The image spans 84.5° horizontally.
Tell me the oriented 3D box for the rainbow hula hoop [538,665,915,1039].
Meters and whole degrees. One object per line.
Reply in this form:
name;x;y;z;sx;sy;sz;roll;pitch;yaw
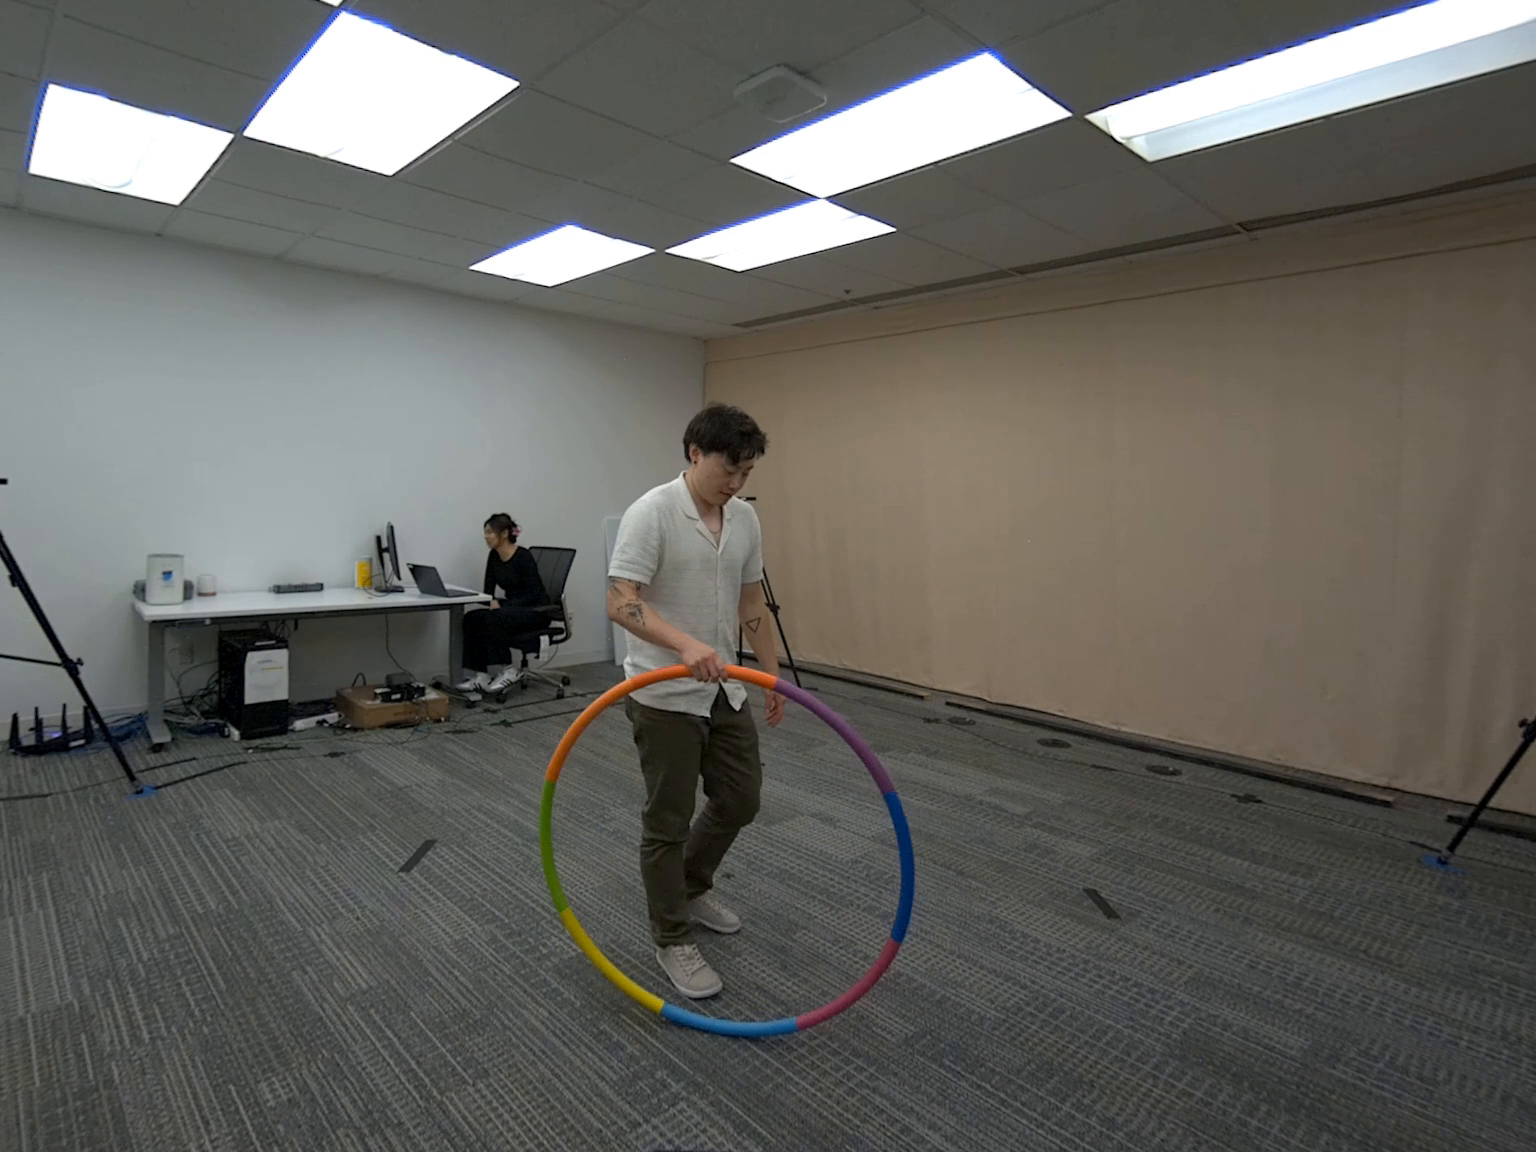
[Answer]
rainbow hula hoop;-0.135;0.704;2.143;0.990;0.974;0.035;2;6;14
